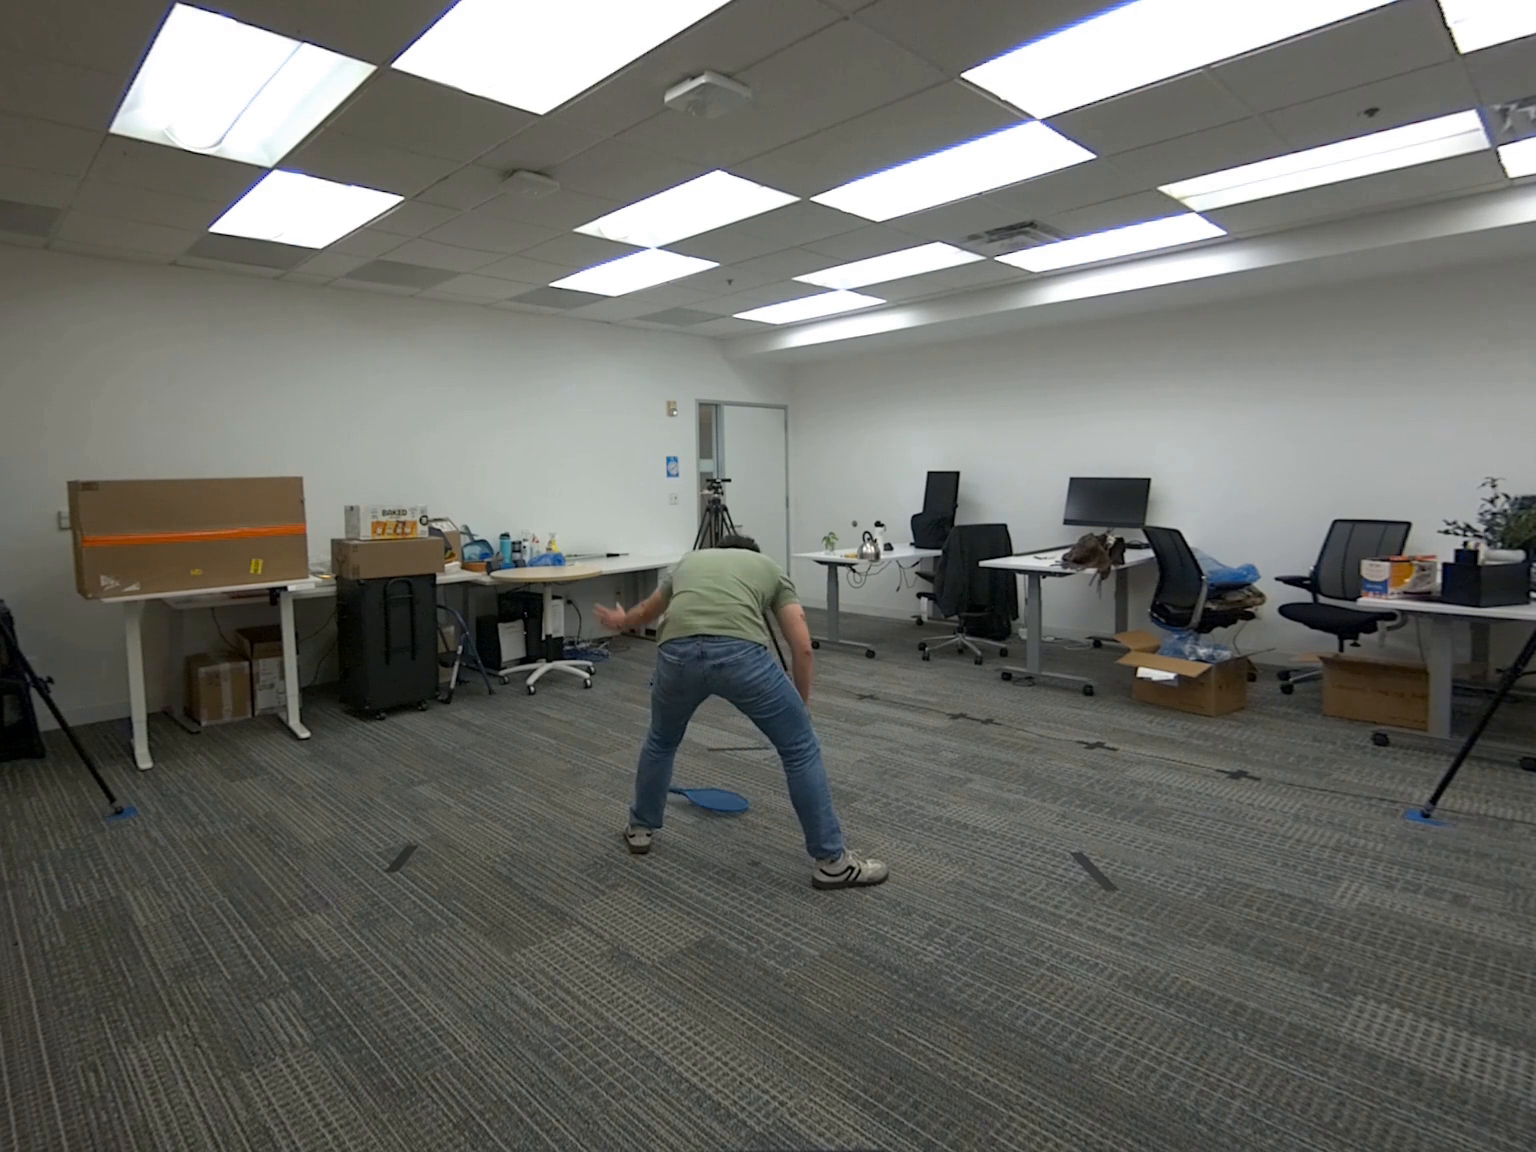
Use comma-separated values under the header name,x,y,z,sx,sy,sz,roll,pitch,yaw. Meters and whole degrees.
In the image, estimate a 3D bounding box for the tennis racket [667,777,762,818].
name,x,y,z,sx,sy,sz,roll,pitch,yaw
tennis racket,-0.269,0.938,3.656,0.443,0.031,0.209,4,5,23
